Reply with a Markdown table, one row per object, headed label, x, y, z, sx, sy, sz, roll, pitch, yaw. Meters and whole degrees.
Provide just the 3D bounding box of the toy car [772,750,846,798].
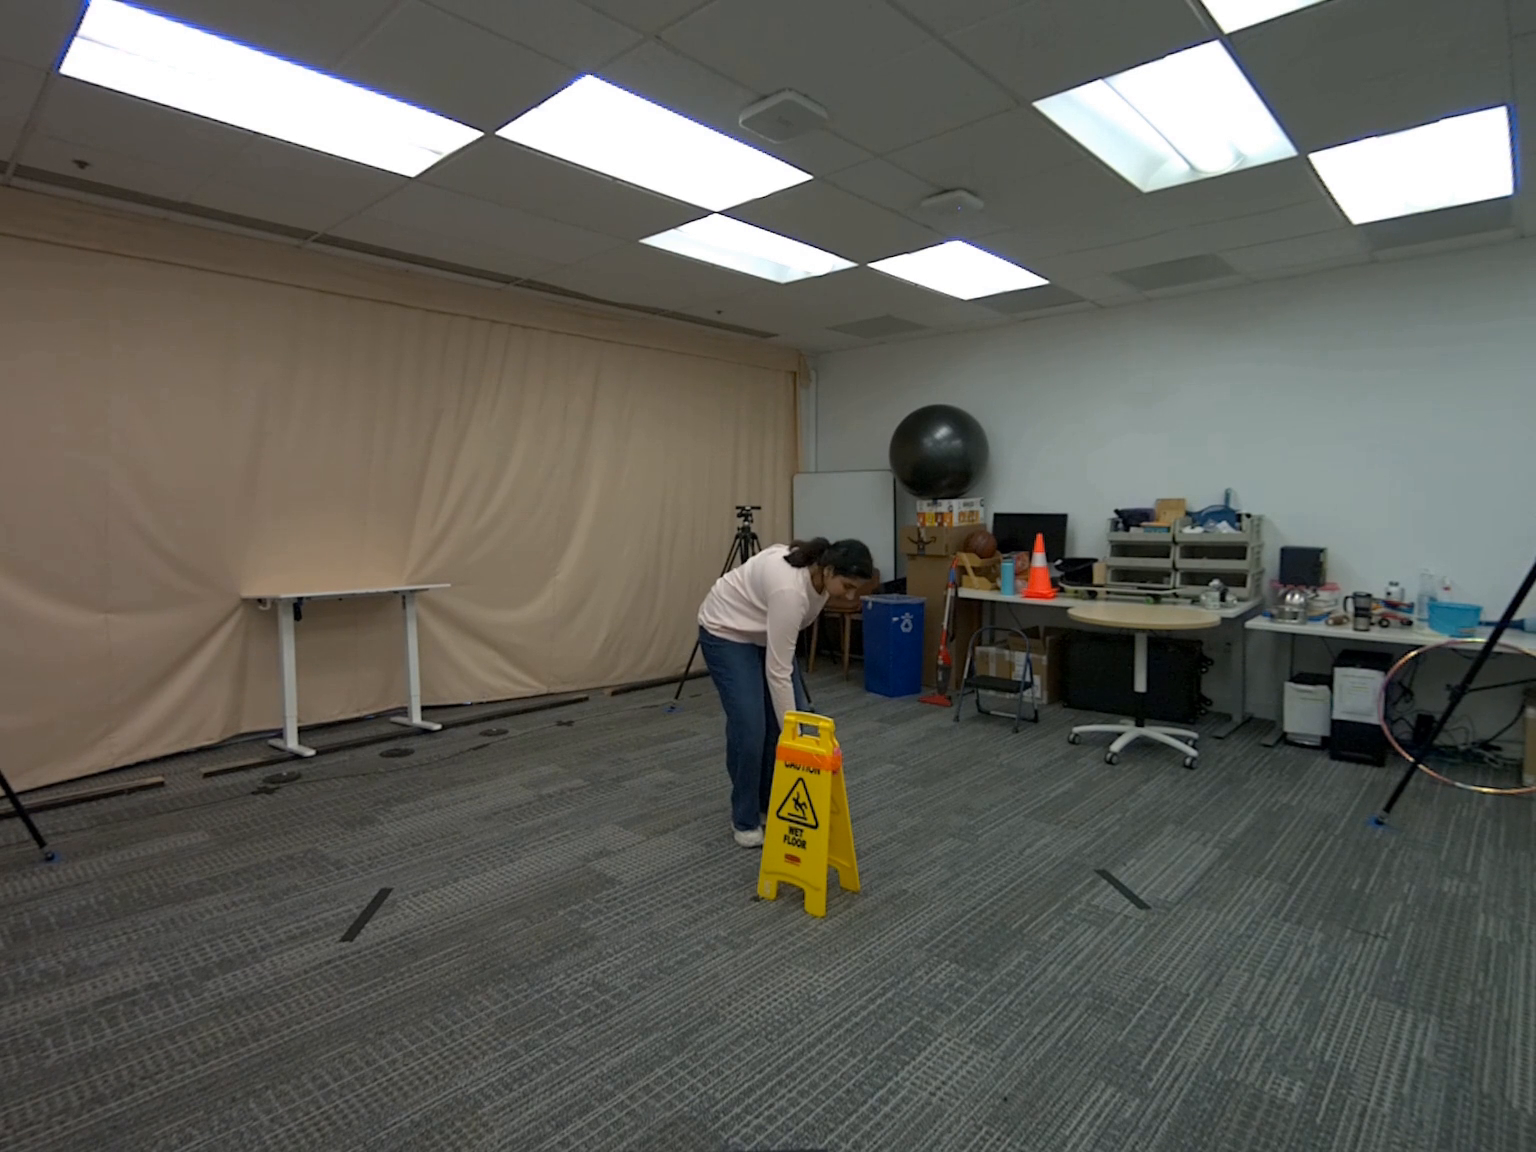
| label | x | y | z | sx | sy | sz | roll | pitch | yaw |
| --- | --- | --- | --- | --- | --- | --- | --- | --- | --- |
| toy car | 0.158 | 0.773 | 3.335 | 0.248 | 0.082 | 0.135 | -6 | 17 | -29 |
